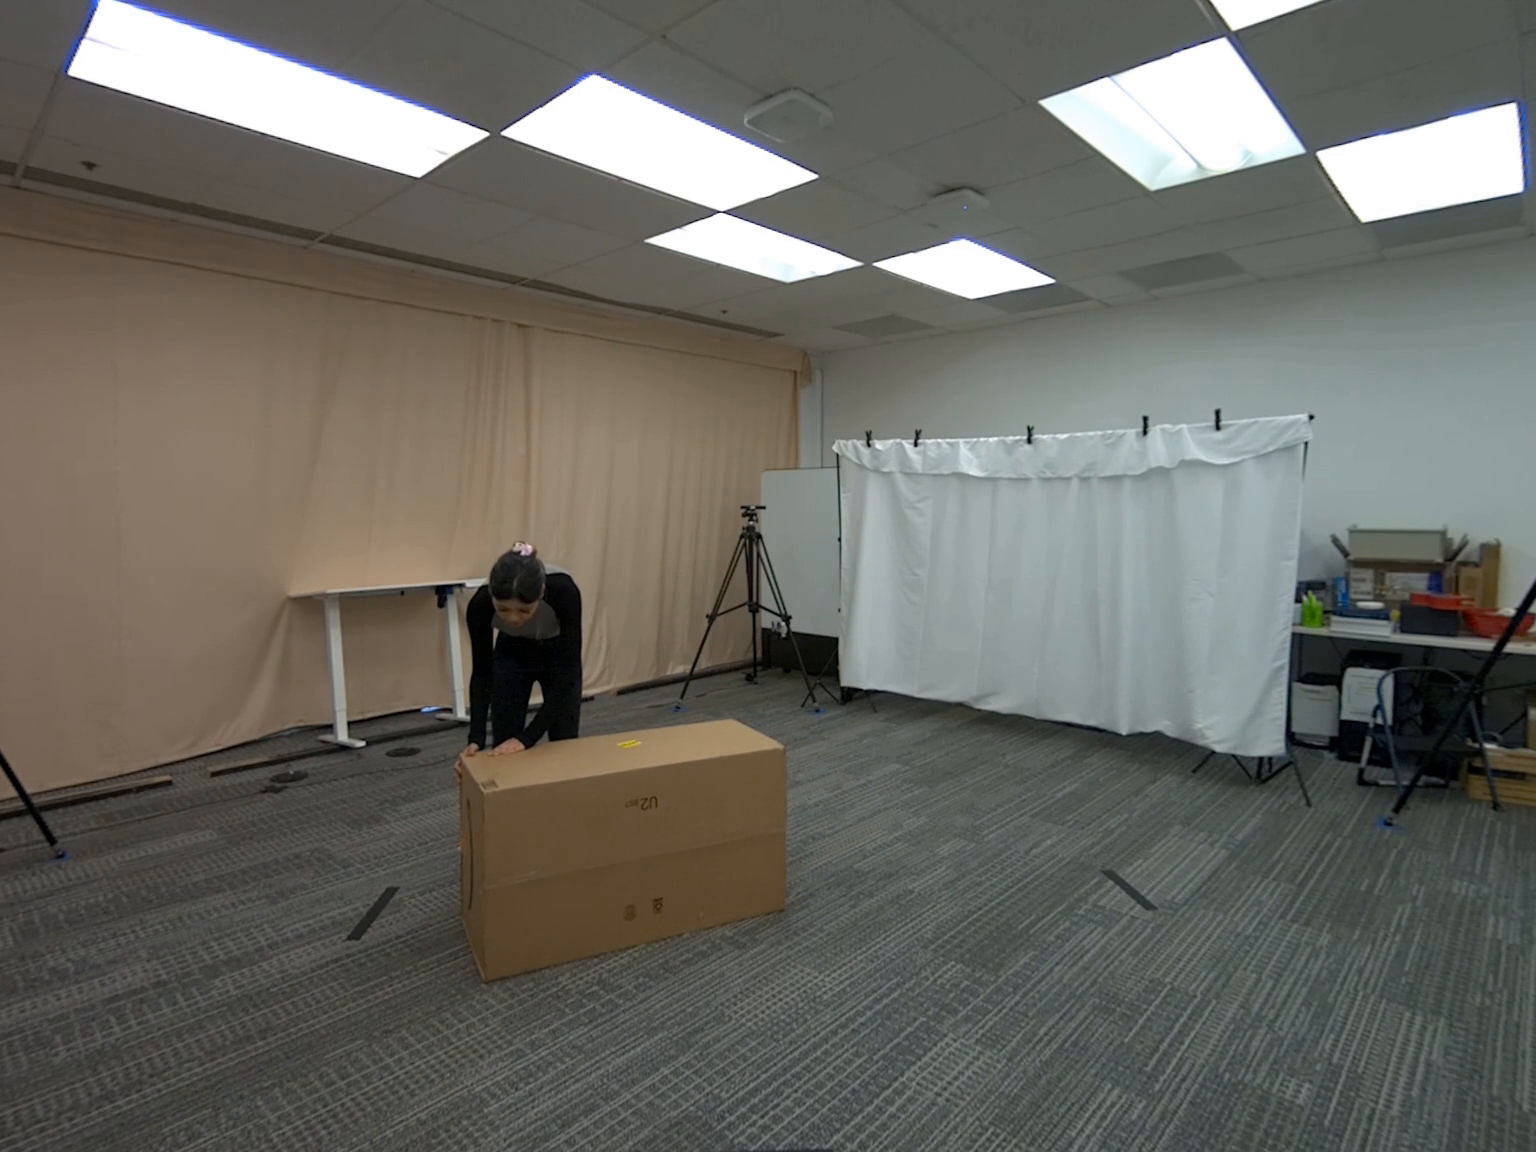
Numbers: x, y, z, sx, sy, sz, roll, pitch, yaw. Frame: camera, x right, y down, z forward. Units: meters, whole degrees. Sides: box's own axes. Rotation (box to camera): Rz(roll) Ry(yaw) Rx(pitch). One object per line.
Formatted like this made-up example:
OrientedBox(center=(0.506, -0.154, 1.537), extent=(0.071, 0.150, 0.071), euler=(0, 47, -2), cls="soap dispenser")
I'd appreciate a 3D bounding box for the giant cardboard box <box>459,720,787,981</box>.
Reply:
OrientedBox(center=(-0.474, 0.872, 2.847), extent=(1.001, 0.583, 0.459), euler=(-2, 3, -28), cls="giant cardboard box")
